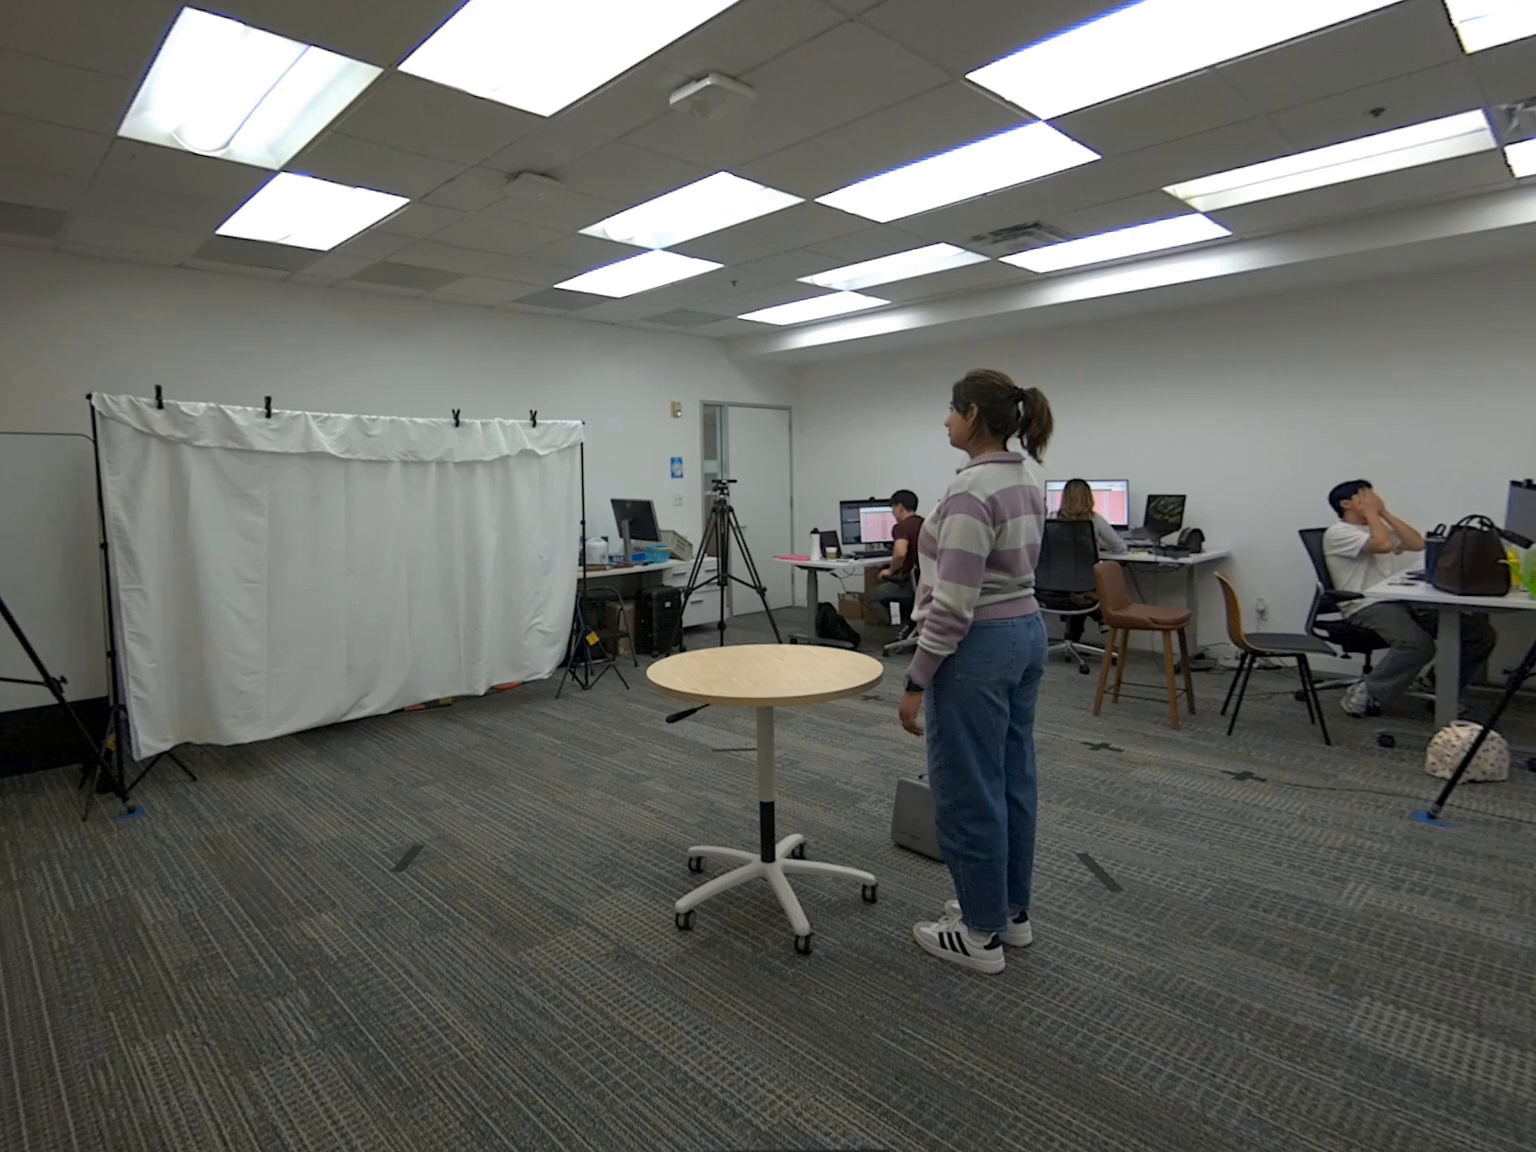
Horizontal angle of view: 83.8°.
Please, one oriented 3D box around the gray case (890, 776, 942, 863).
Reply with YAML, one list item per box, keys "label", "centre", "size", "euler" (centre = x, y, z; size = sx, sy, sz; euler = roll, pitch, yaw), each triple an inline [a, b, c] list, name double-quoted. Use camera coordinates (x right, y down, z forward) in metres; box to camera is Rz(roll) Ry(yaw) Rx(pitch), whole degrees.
- label: "gray case"
  centre: [0.596, 0.895, 3.191]
  size: [0.101, 0.261, 0.265]
  euler: [9, -2, -39]
